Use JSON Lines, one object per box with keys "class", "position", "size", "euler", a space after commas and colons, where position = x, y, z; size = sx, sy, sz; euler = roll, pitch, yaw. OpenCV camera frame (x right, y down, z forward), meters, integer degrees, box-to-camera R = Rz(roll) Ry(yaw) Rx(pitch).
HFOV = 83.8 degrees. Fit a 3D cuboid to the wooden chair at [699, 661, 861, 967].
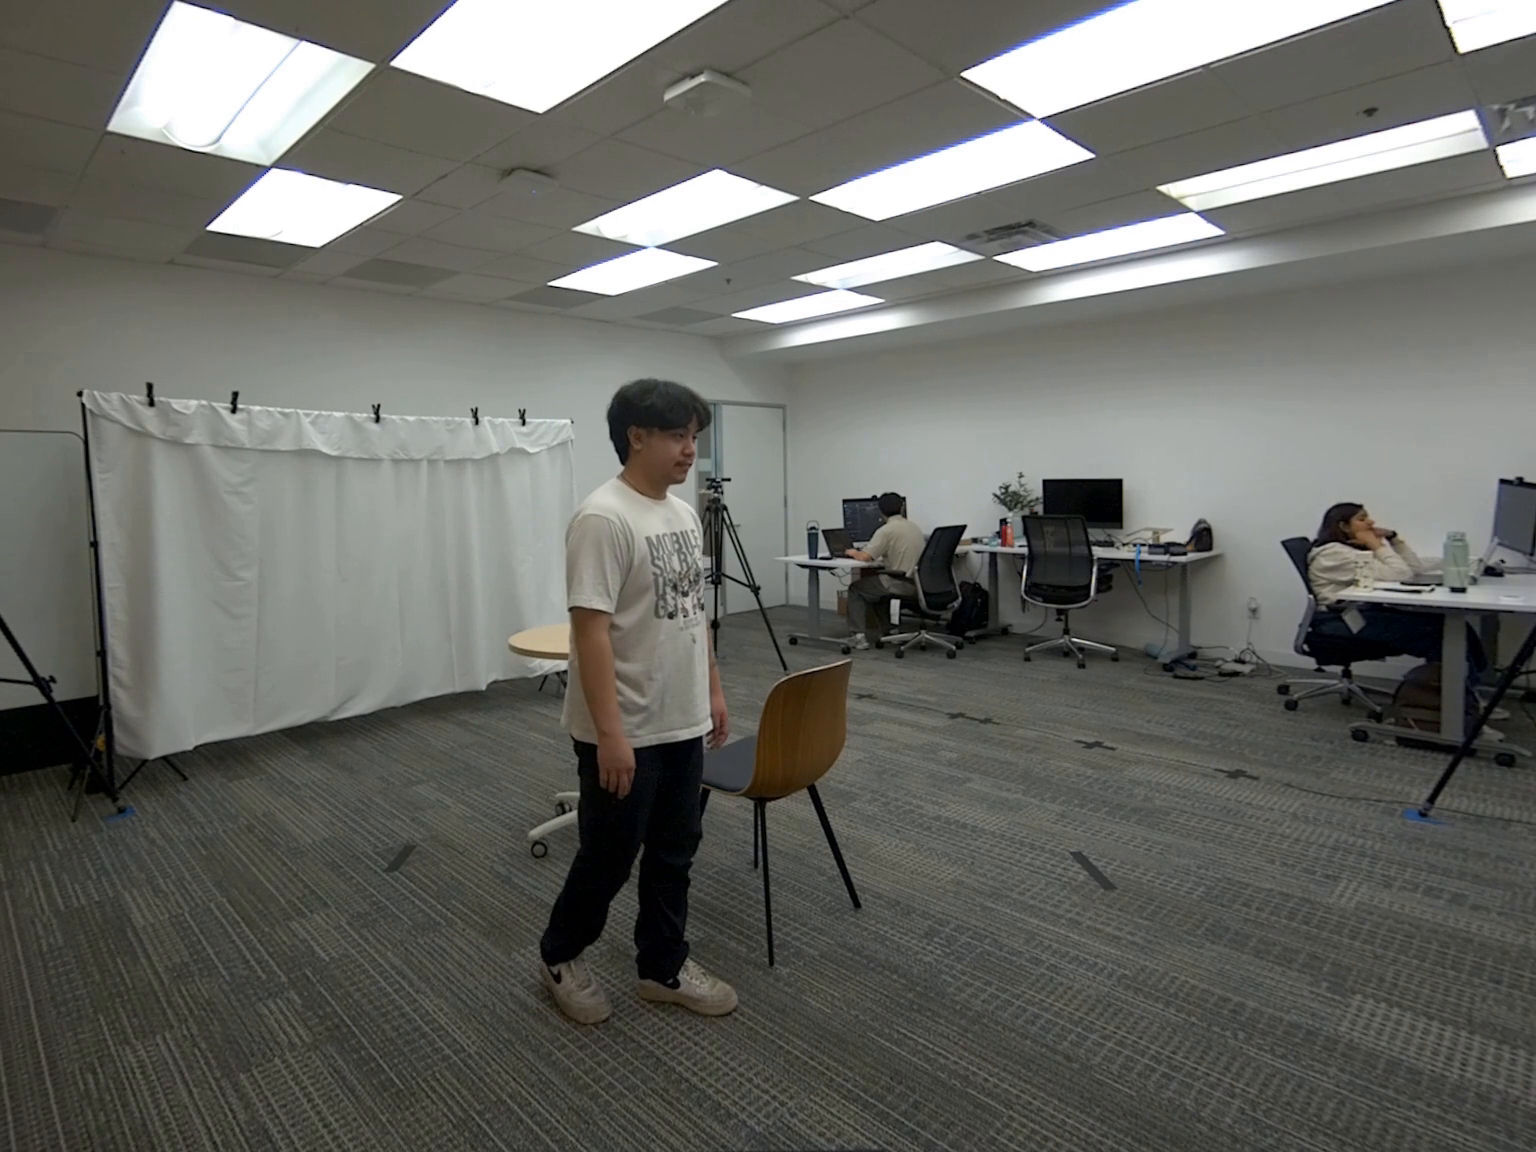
{"class": "wooden chair", "position": [-0.025, 0.658, 2.731], "size": [0.540, 0.871, 0.466], "euler": [9, 11, 42]}
